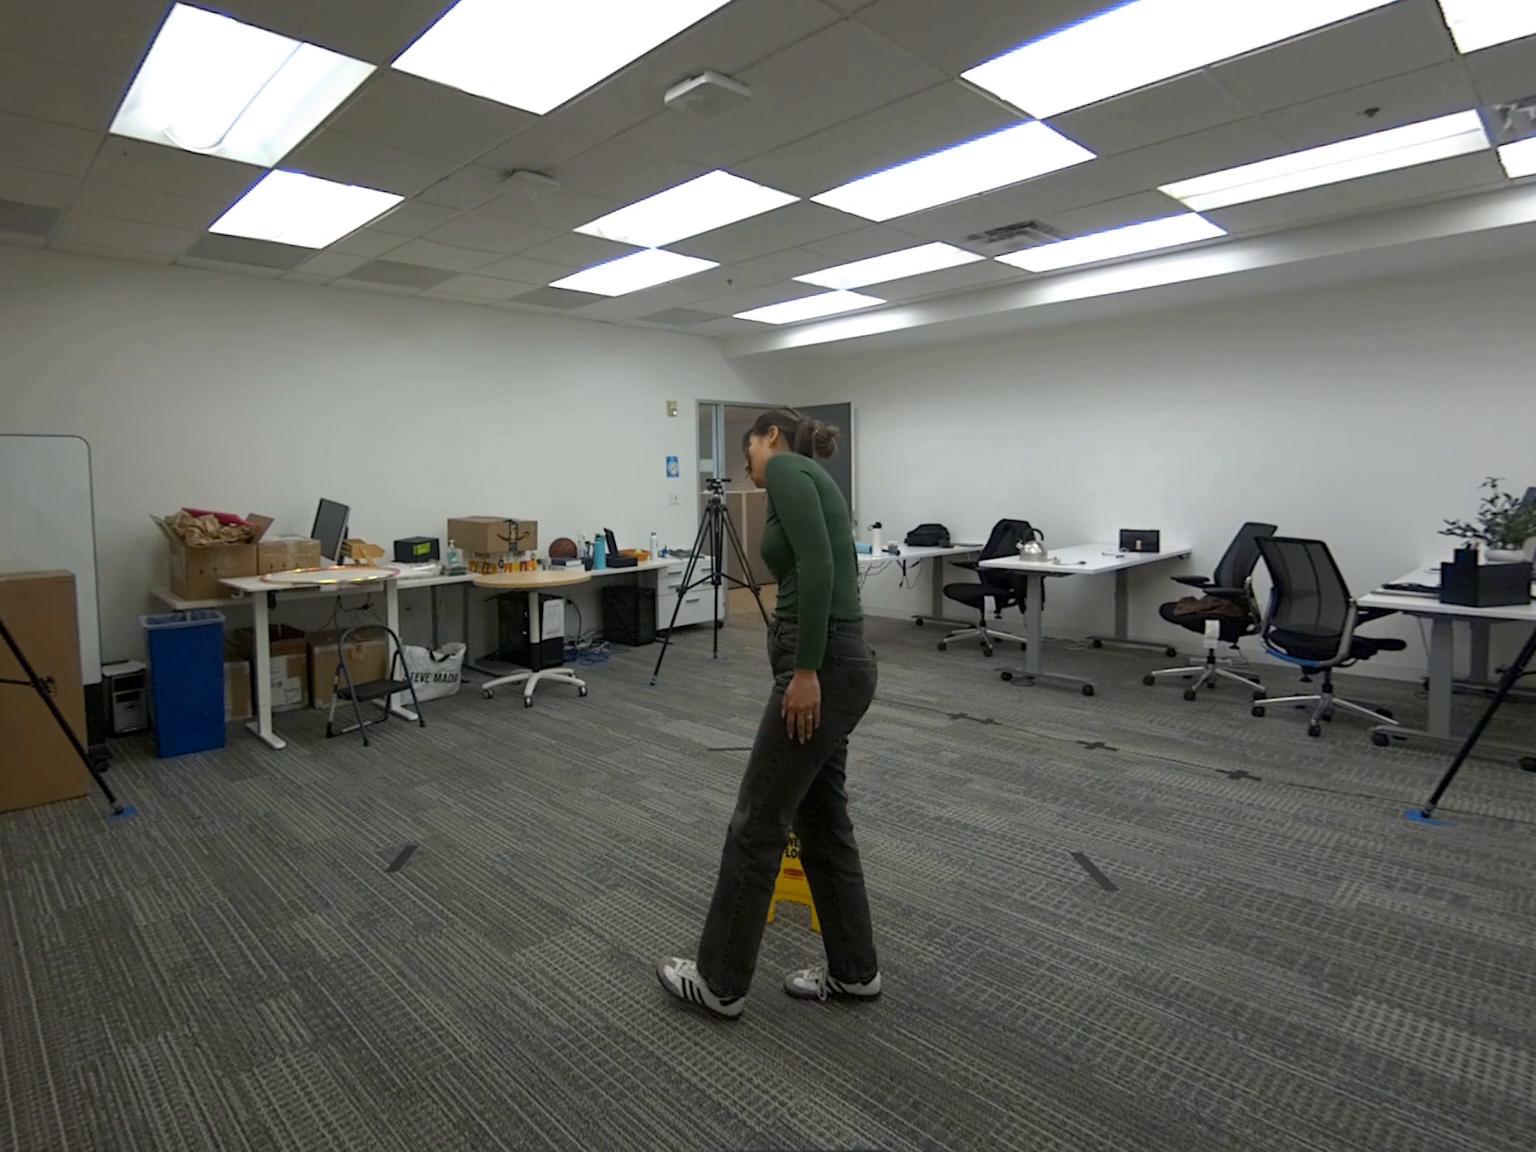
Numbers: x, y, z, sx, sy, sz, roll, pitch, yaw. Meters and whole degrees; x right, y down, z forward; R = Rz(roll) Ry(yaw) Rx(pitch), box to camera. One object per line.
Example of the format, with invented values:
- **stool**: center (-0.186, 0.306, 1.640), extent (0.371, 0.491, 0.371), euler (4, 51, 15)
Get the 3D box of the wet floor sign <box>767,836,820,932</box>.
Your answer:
- **wet floor sign**: center (0.122, 0.758, 2.783), extent (0.288, 0.644, 0.285), euler (2, 4, 19)
